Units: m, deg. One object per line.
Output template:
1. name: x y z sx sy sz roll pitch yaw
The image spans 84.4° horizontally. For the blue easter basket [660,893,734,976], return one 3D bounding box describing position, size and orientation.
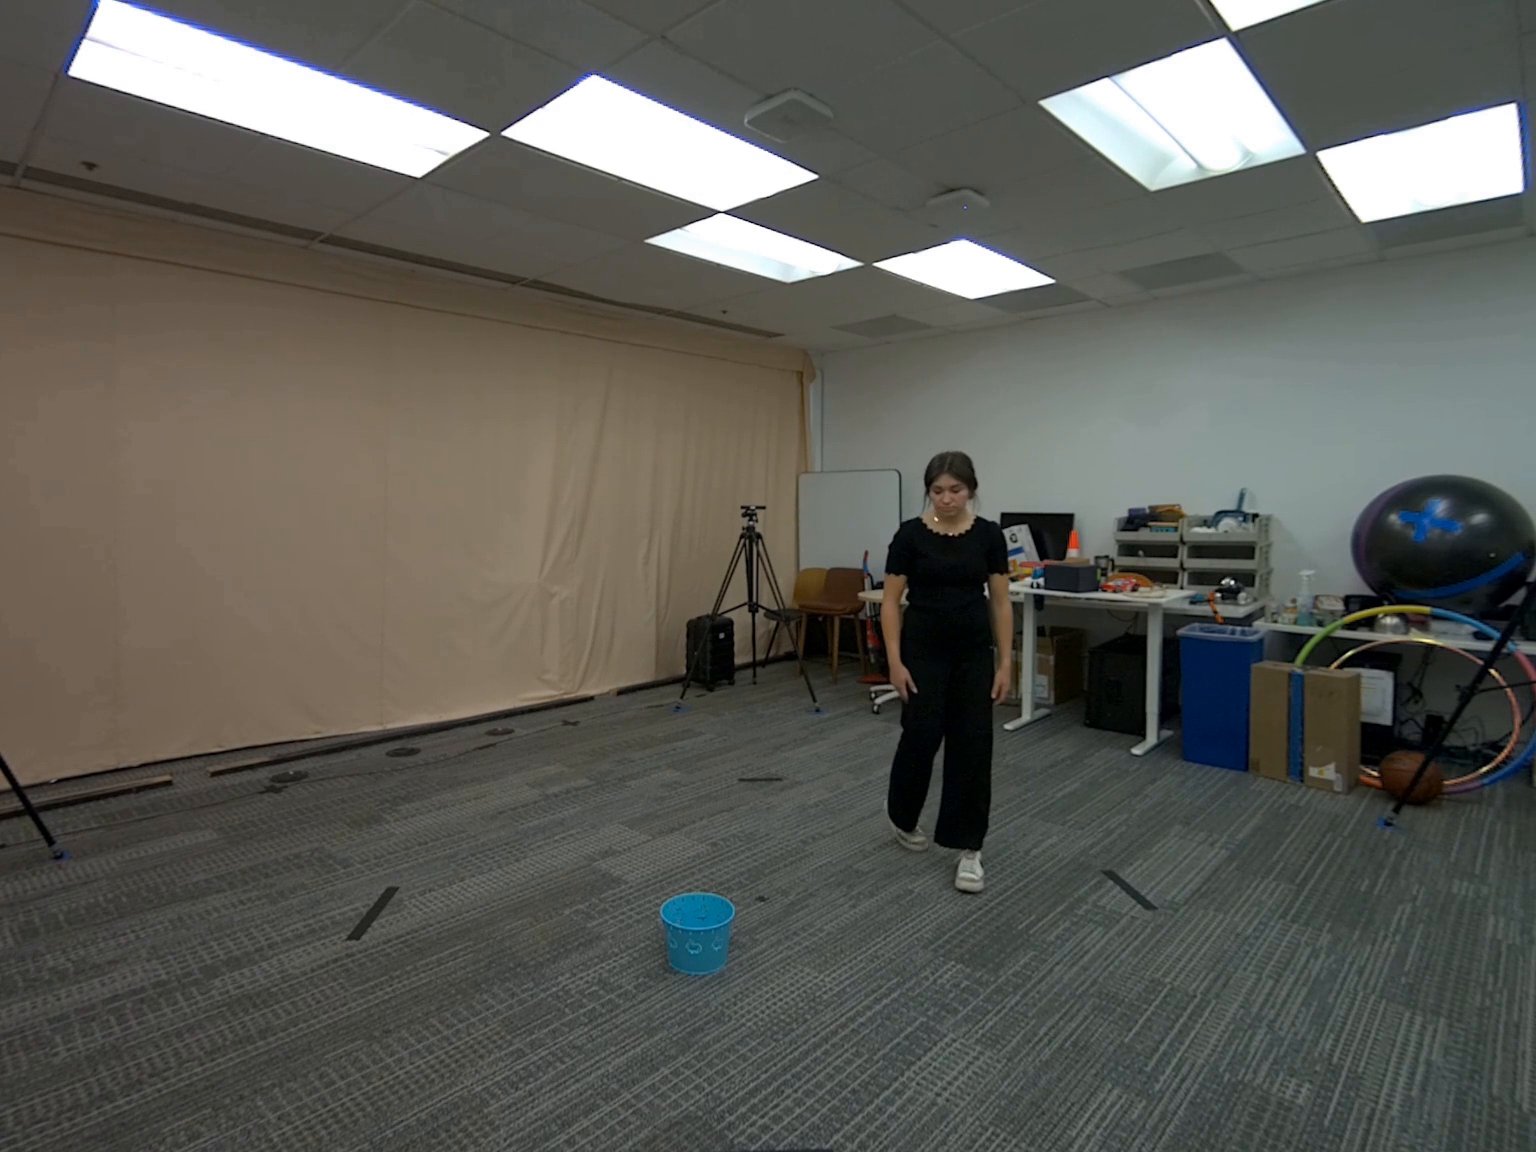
1. blue easter basket: -0.218 1.097 2.592 0.243 0.155 0.244 -1 5 -2
